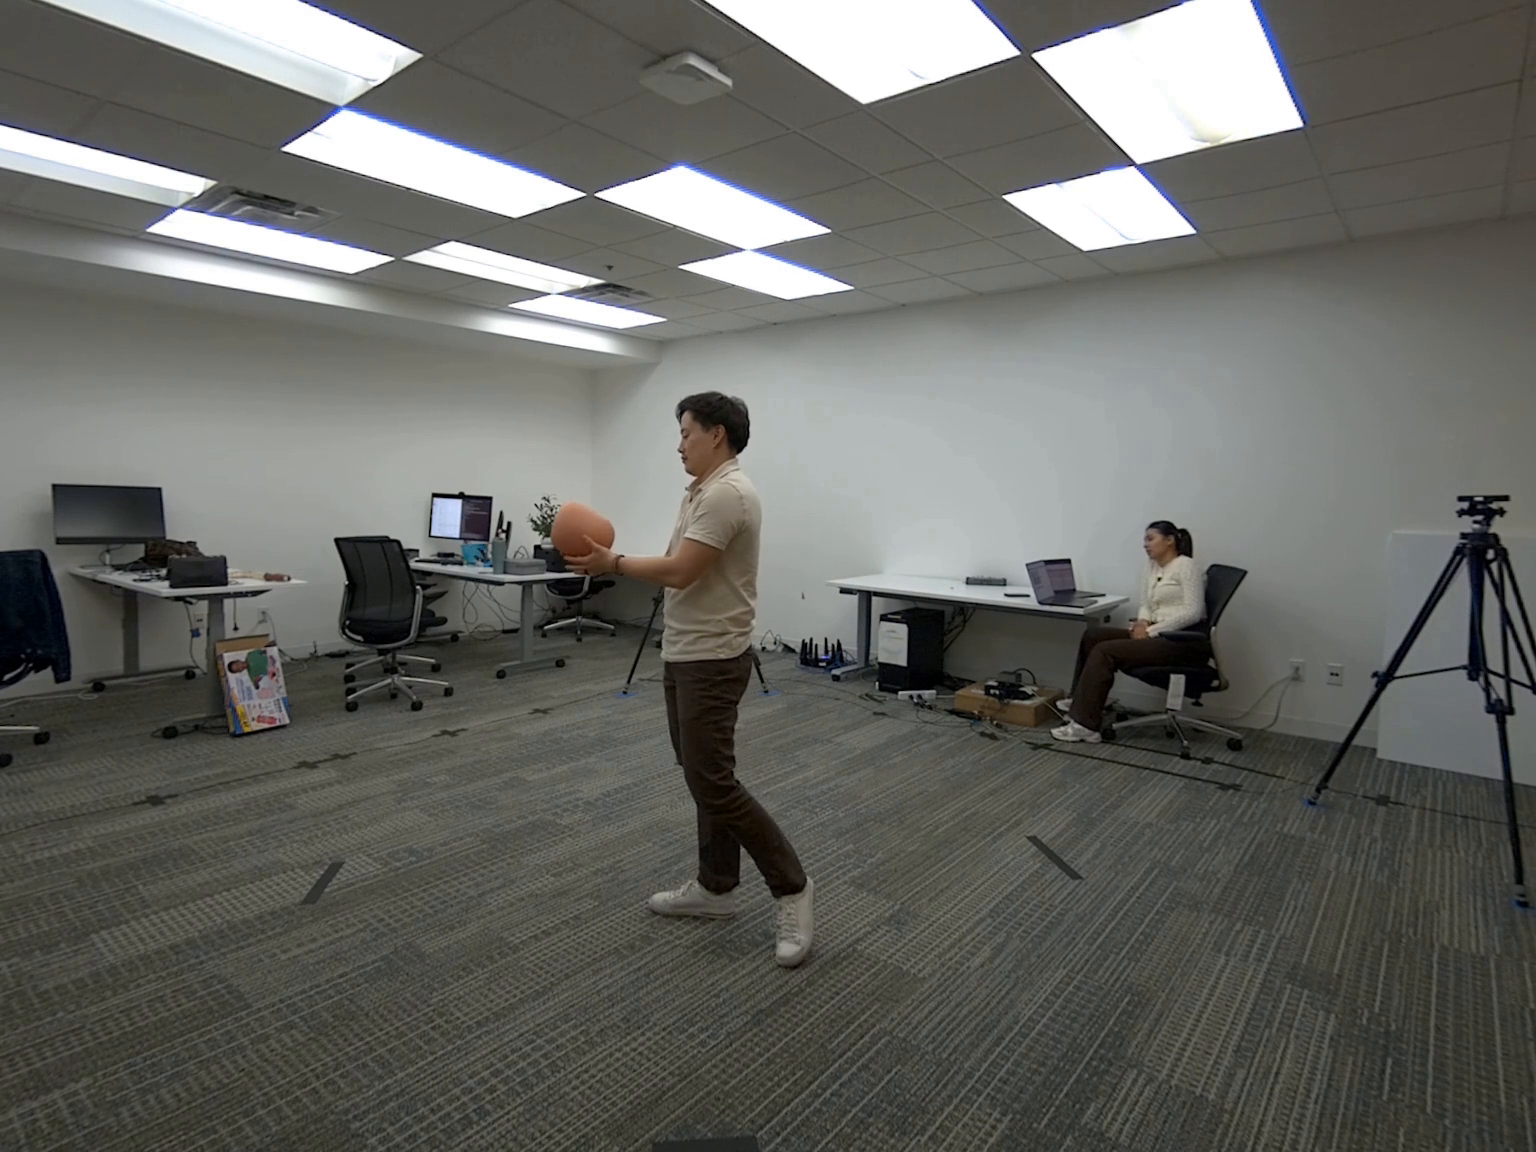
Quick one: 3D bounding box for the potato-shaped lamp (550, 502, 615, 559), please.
[{"bbox_3d":[-0.592,-0.140,2.710,0.196,0.164,0.174,18,9,-10],"label":"potato-shaped lamp"}]
